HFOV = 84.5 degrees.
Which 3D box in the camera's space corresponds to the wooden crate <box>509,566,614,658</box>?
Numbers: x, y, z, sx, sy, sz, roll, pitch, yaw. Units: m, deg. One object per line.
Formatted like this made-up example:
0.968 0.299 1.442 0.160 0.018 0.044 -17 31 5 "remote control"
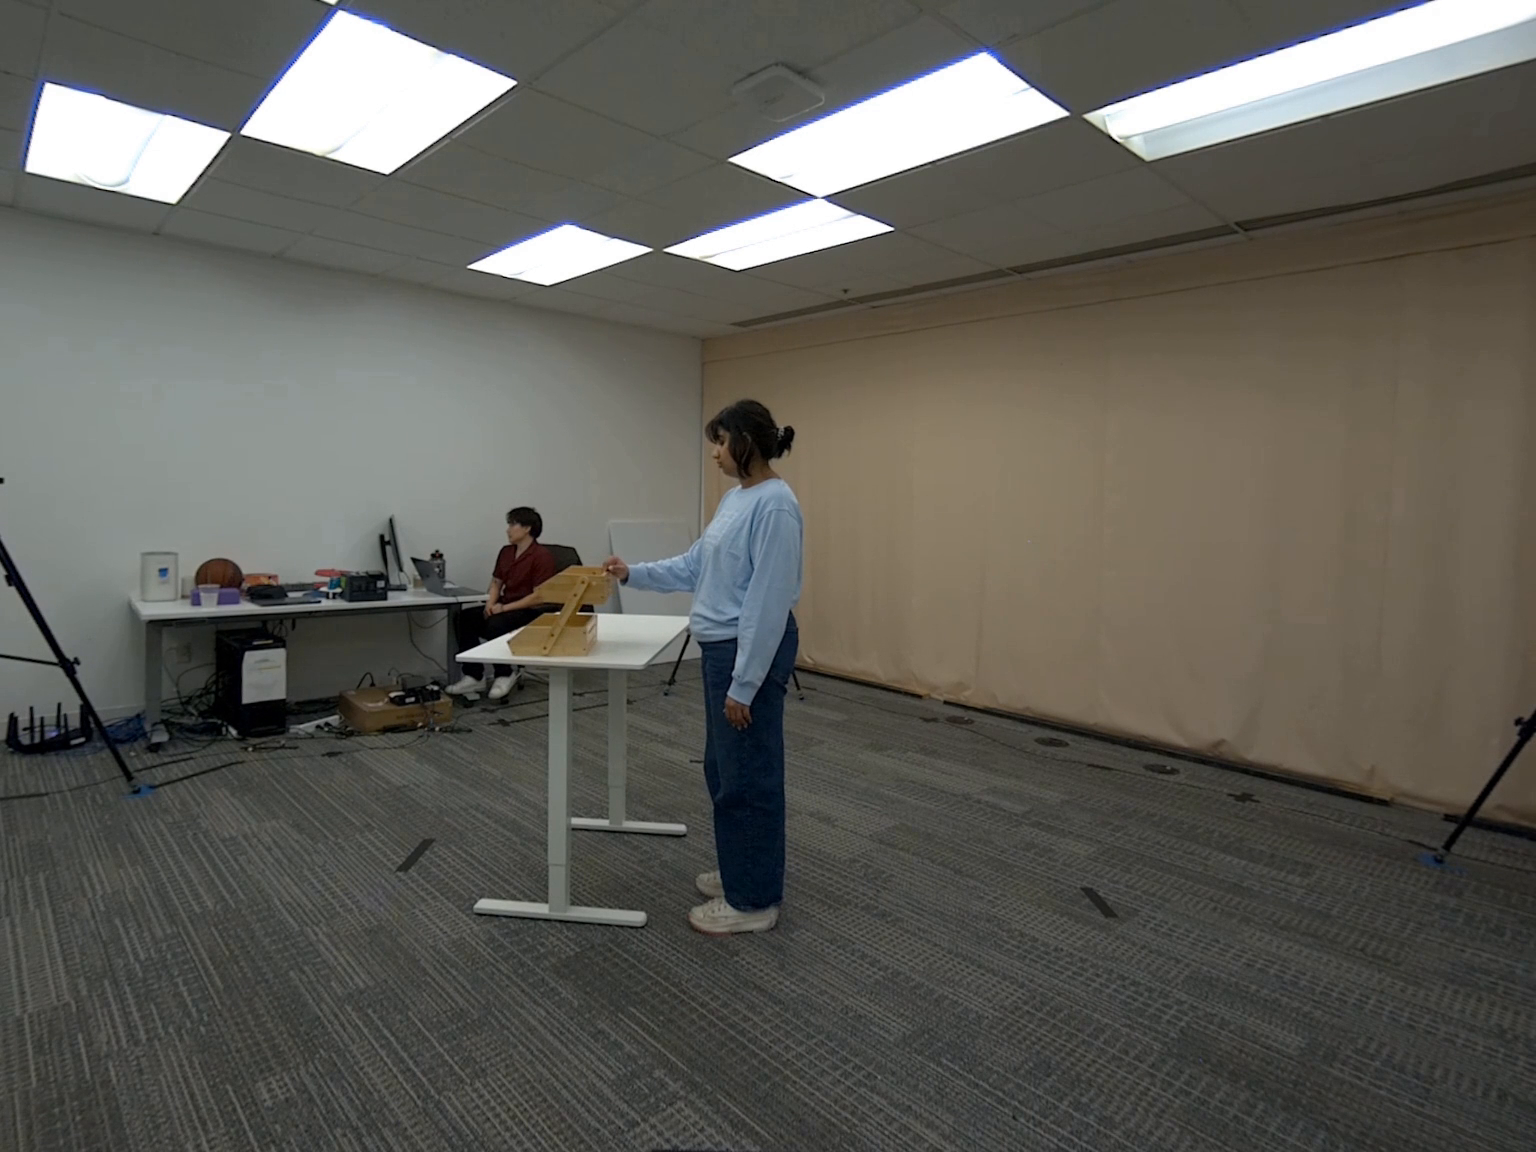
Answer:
-0.683 0.108 2.794 0.301 0.272 0.326 2 4 -4 "wooden crate"
